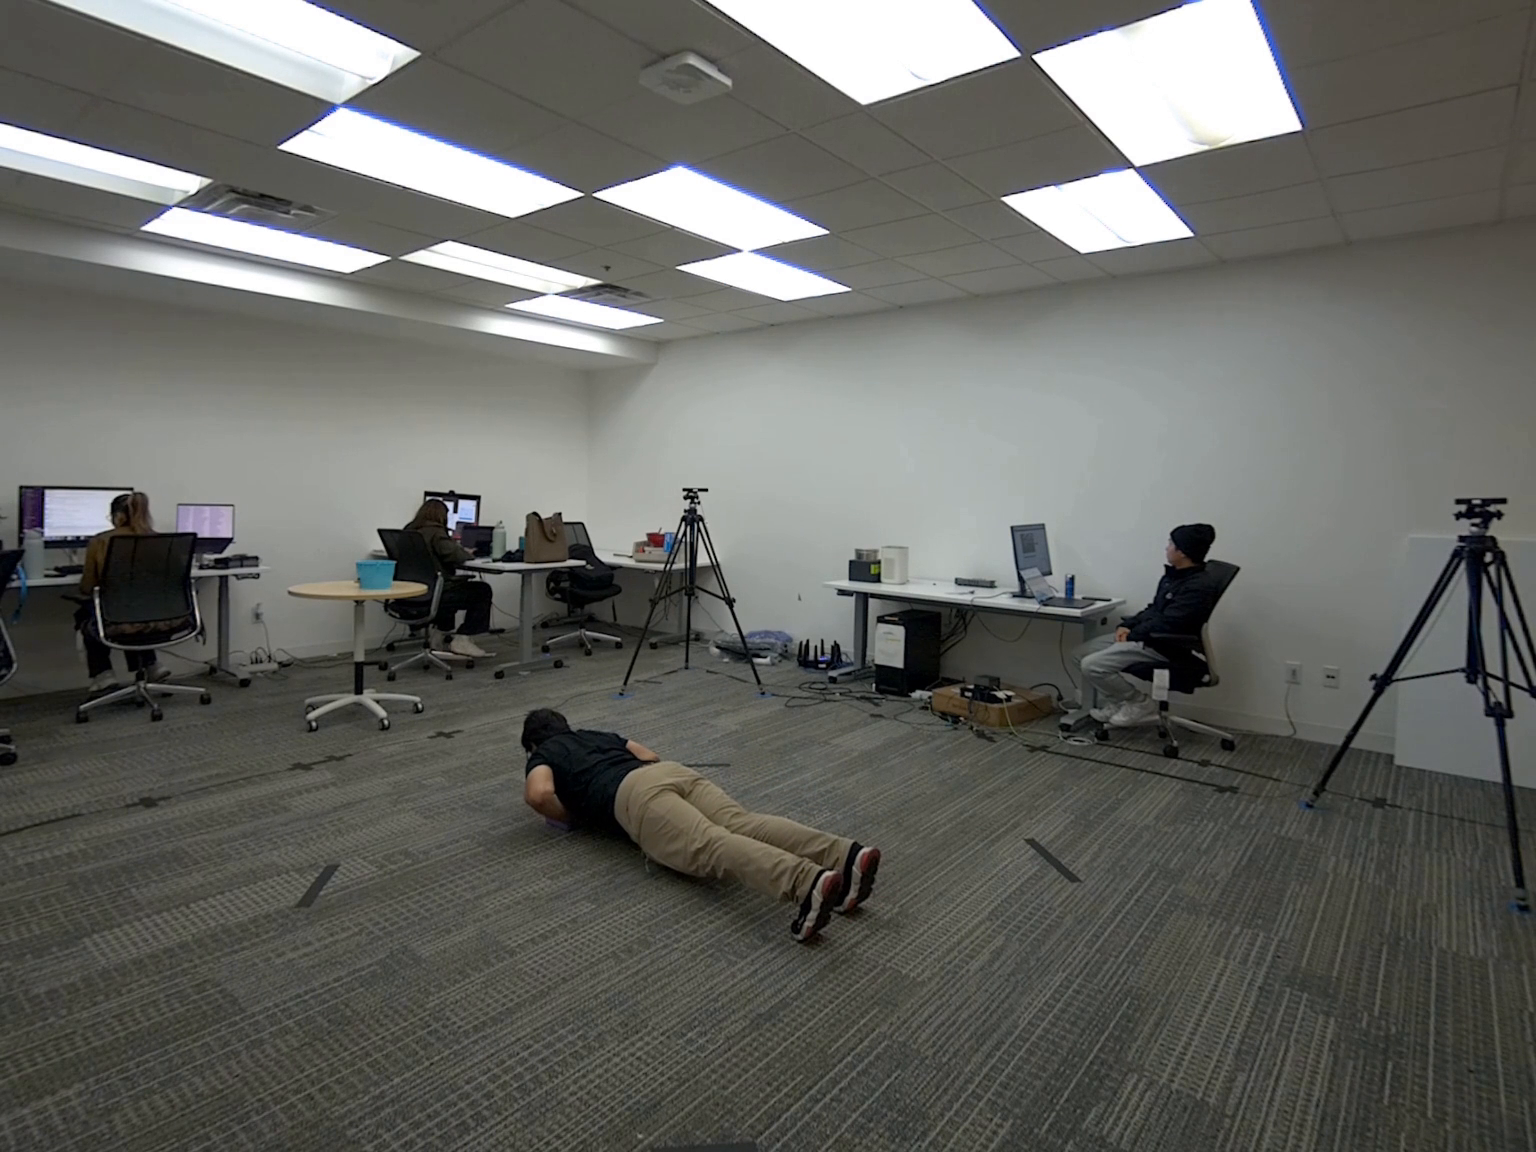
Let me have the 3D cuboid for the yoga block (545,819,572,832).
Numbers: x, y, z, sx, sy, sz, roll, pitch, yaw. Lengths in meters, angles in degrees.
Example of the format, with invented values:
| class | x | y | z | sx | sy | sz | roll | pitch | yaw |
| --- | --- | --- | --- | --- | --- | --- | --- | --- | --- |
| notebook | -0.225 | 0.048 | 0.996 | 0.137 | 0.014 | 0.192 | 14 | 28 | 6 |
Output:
| class | x | y | z | sx | sy | sz | roll | pitch | yaw |
| --- | --- | --- | --- | --- | --- | --- | --- | --- | --- |
| yoga block | -0.804 | 0.974 | 3.564 | 0.154 | 0.076 | 0.222 | 8 | 6 | 37 |
